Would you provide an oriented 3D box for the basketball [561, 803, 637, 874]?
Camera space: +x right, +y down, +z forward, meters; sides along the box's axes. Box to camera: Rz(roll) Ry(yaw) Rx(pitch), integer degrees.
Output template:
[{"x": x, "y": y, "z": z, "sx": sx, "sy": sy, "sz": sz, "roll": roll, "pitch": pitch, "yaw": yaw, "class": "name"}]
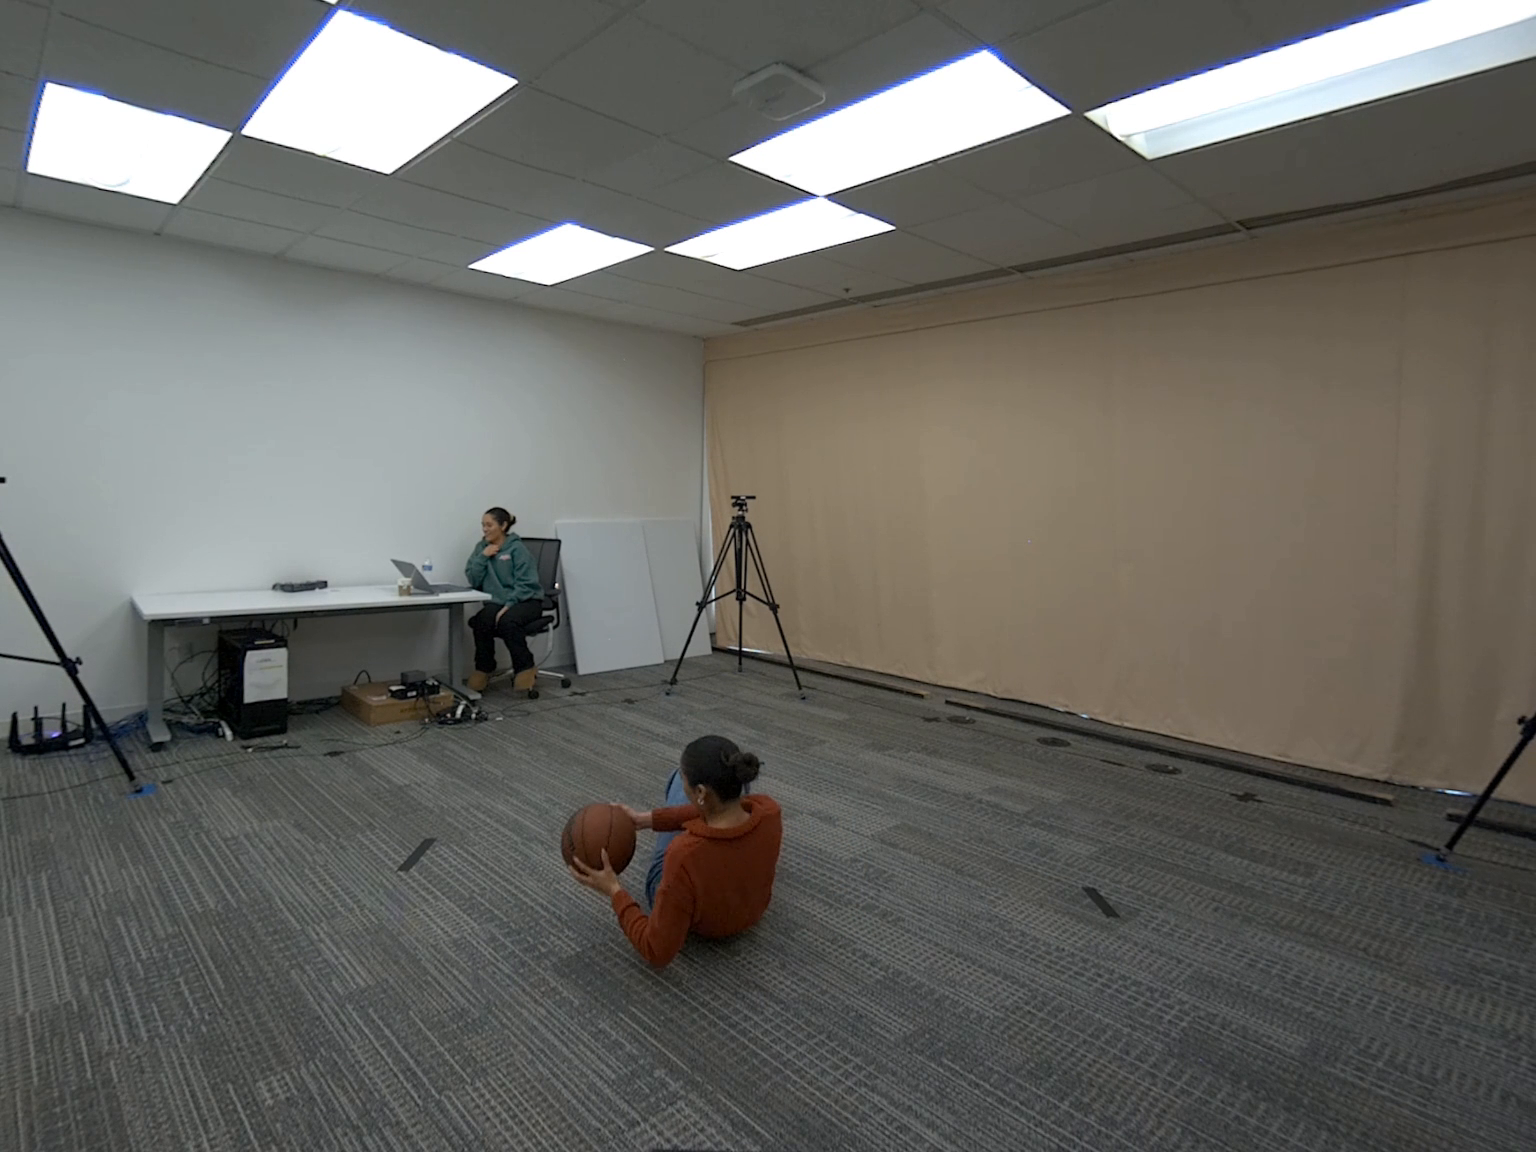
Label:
[{"x": -0.527, "y": 0.831, "z": 2.667, "sx": 0.236, "sy": 0.235, "sz": 0.237, "roll": 1, "pitch": 4, "yaw": -1, "class": "basketball"}]
